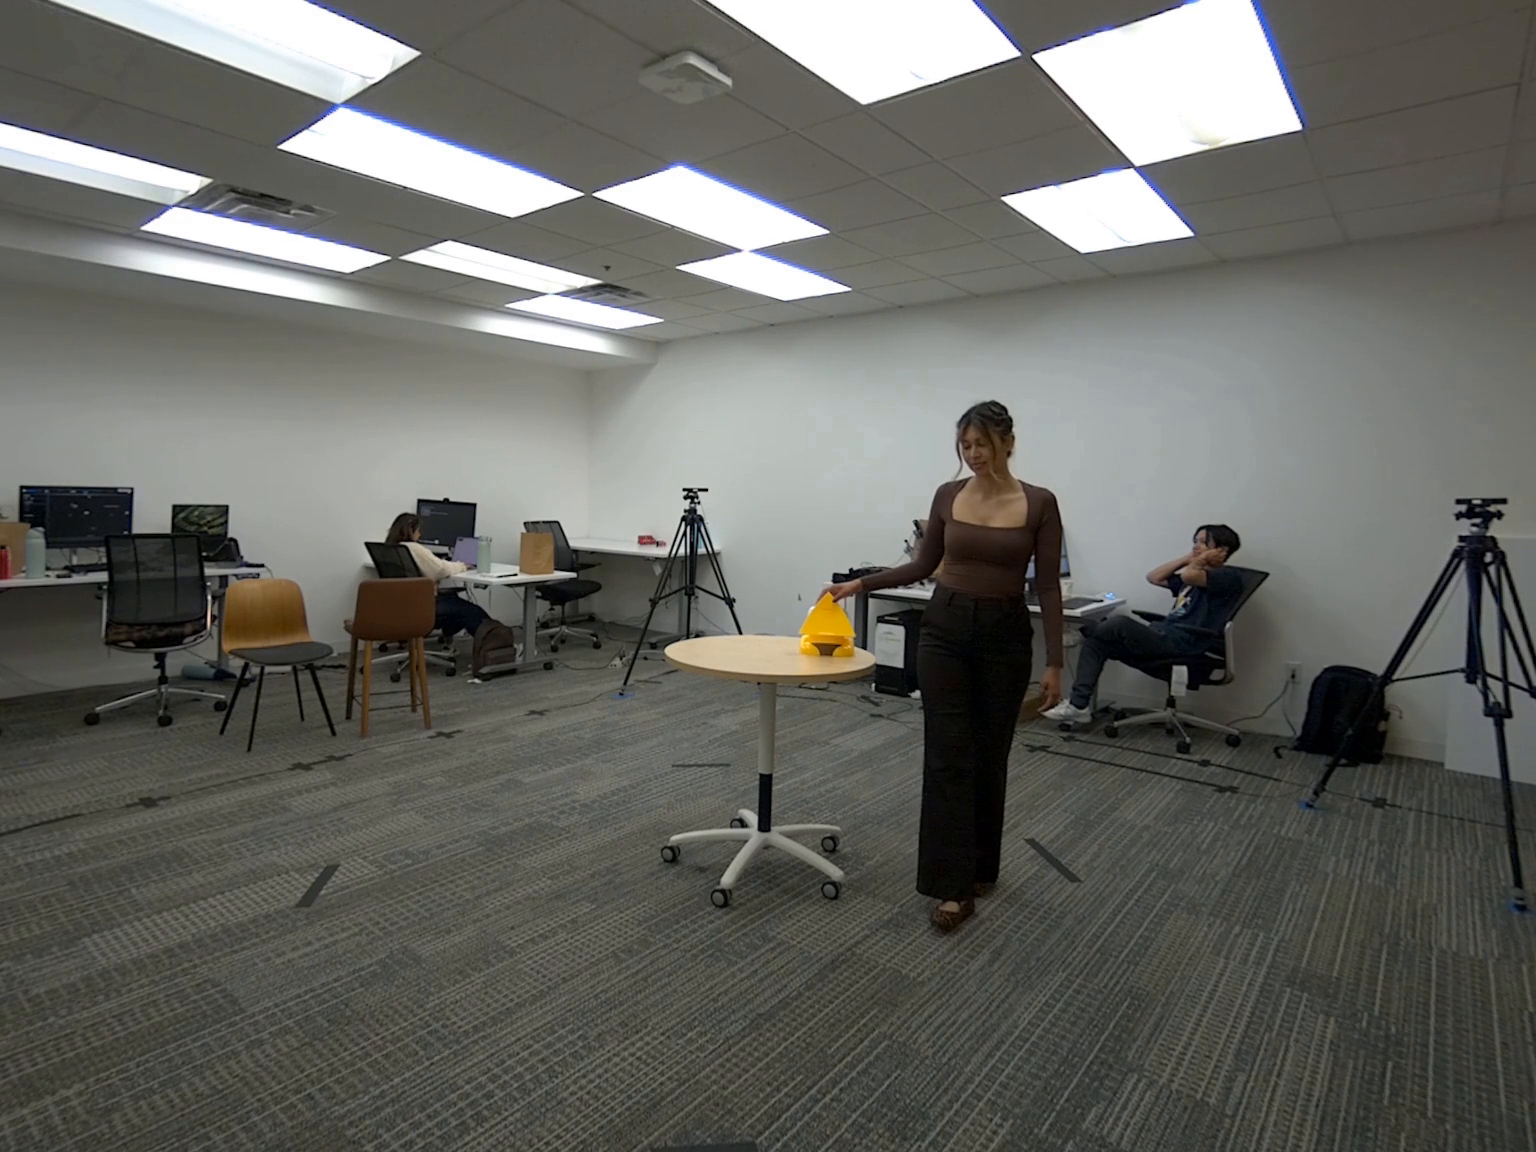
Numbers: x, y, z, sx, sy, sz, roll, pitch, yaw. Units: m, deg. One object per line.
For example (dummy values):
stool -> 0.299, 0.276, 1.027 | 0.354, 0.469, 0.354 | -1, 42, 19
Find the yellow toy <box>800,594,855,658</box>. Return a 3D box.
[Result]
yellow toy -> 0.212, 0.167, 3.142 | 0.206, 0.230, 0.192 | 3, 4, 5
